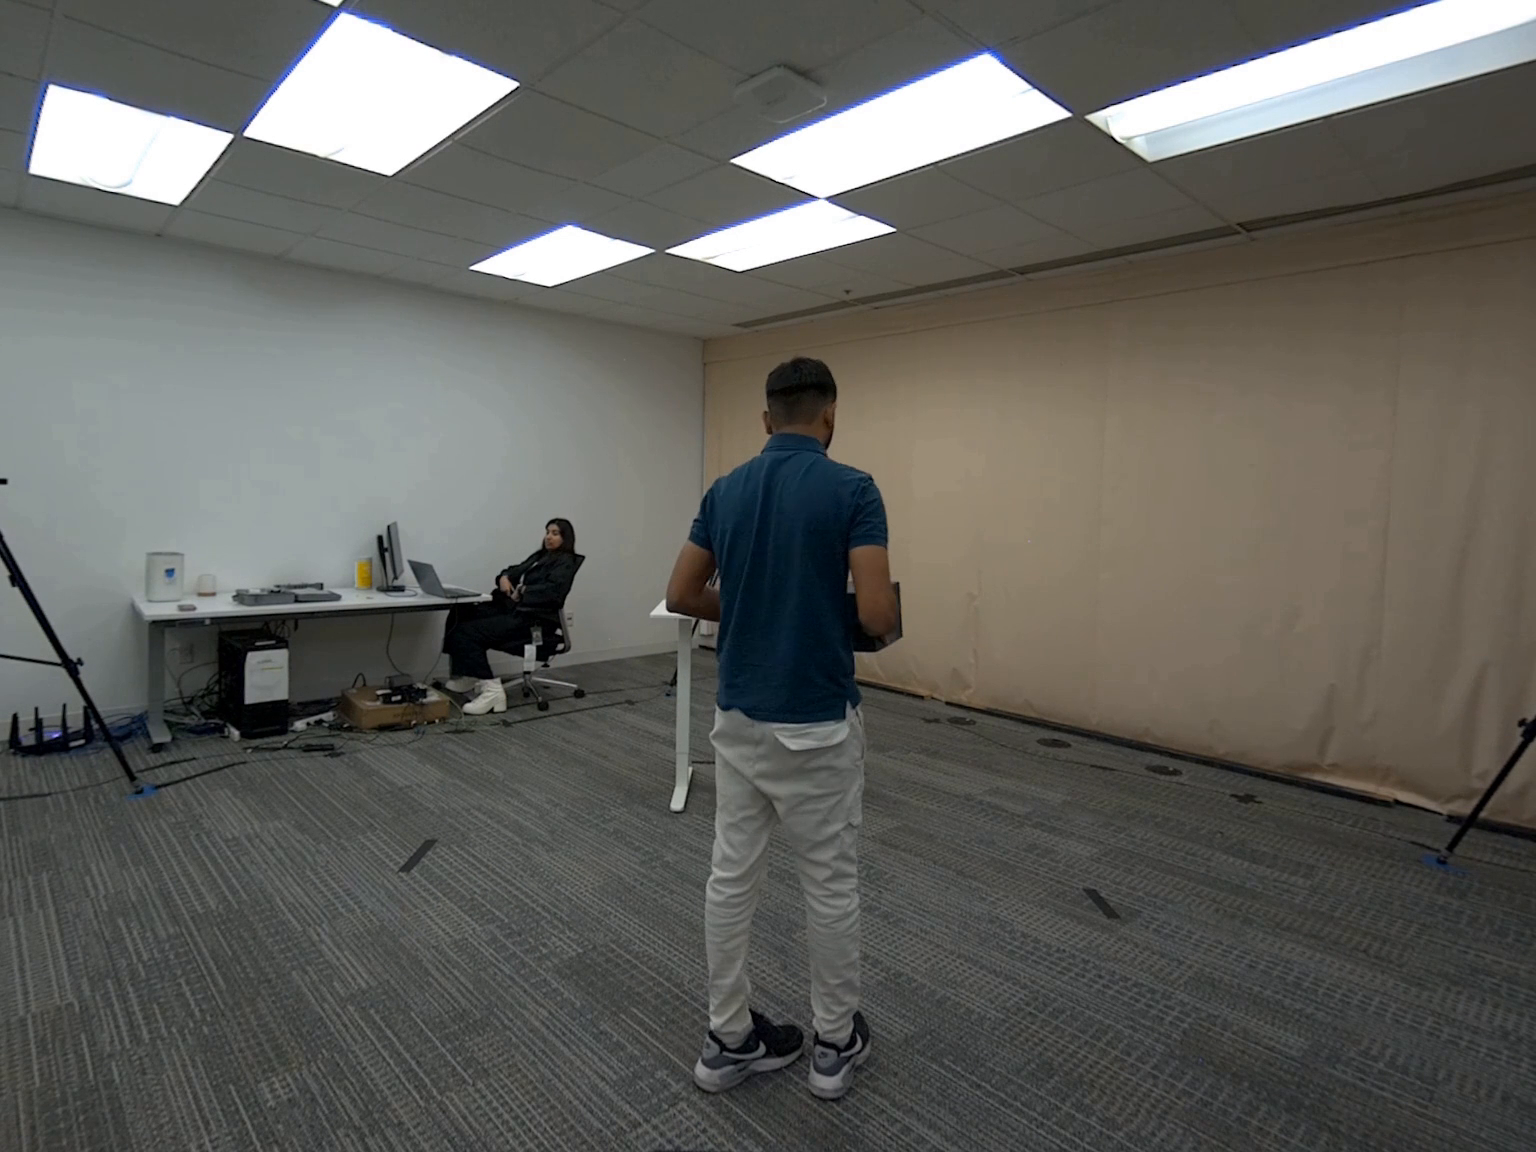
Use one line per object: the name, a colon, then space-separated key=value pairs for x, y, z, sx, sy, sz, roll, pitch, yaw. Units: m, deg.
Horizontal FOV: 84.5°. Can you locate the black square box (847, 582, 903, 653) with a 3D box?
black square box: x=0.234 y=0.106 z=2.274 sx=0.221 sy=0.155 sz=0.225 roll=0 pitch=6 yaw=25
